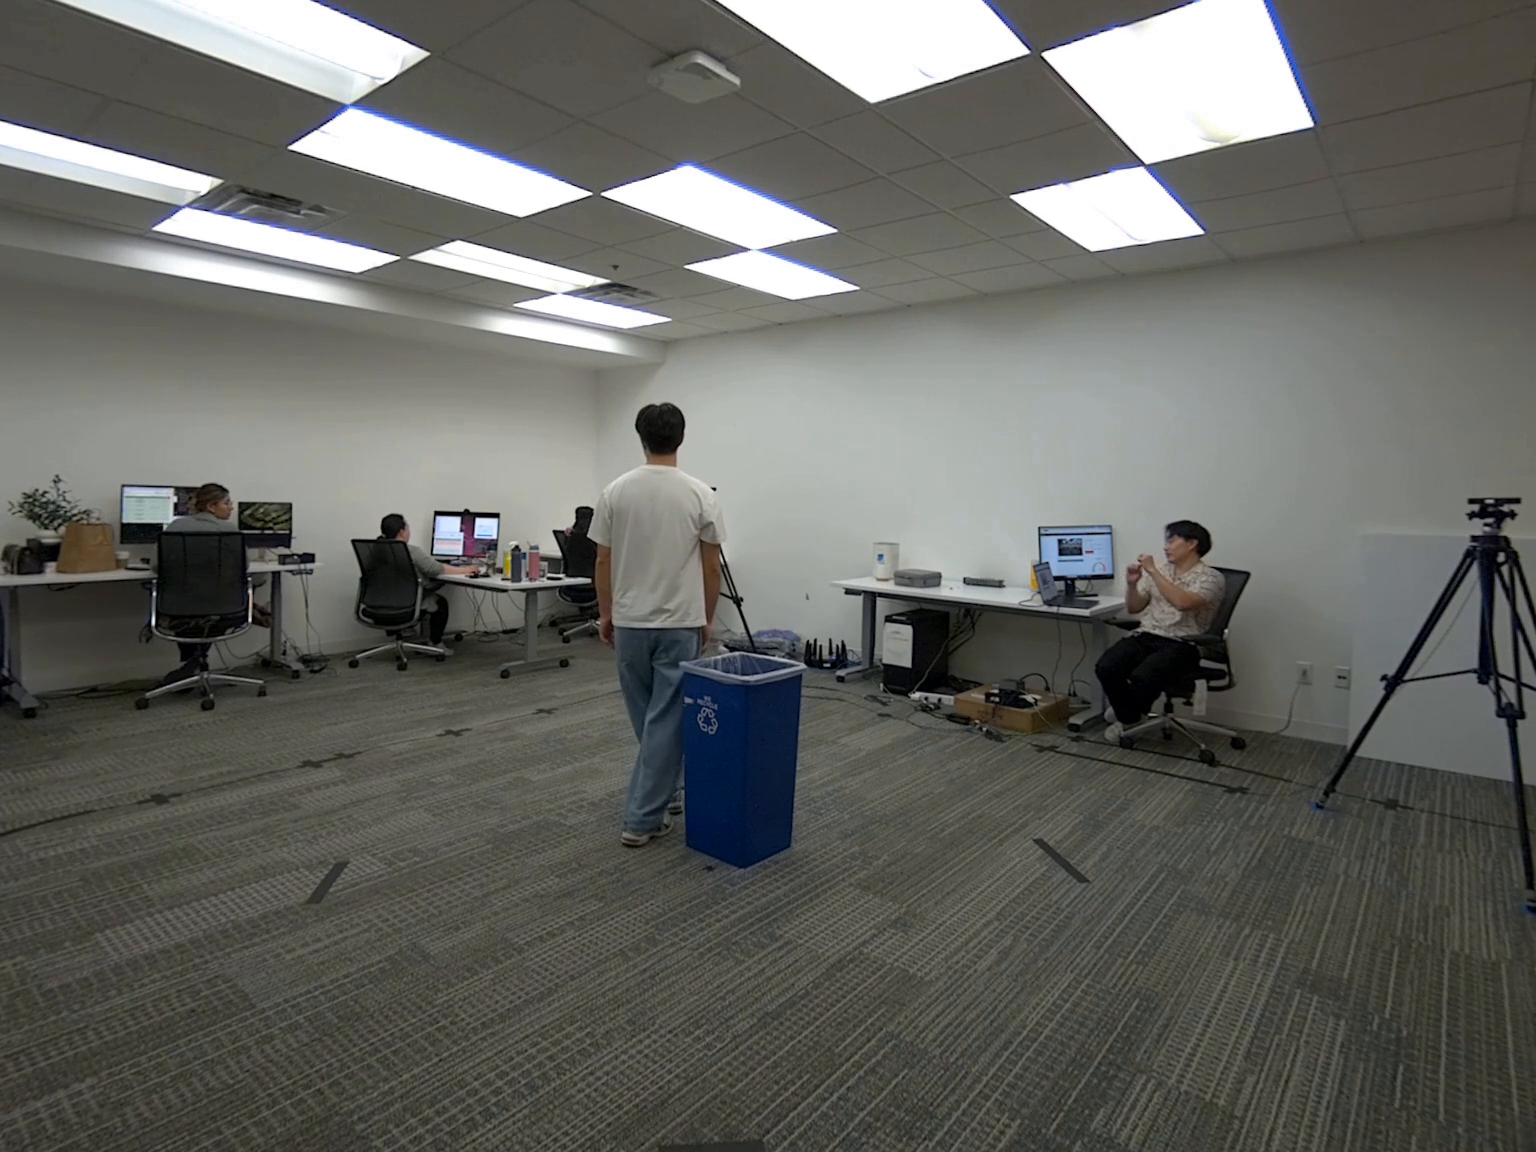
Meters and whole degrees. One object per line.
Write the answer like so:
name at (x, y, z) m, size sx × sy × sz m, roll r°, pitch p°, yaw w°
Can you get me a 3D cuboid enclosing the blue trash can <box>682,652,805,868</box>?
blue trash can at (-0.106, 0.691, 3.292) m, size 0.386 × 0.712 × 0.367 m, roll 3°, pitch 4°, yaw 40°
